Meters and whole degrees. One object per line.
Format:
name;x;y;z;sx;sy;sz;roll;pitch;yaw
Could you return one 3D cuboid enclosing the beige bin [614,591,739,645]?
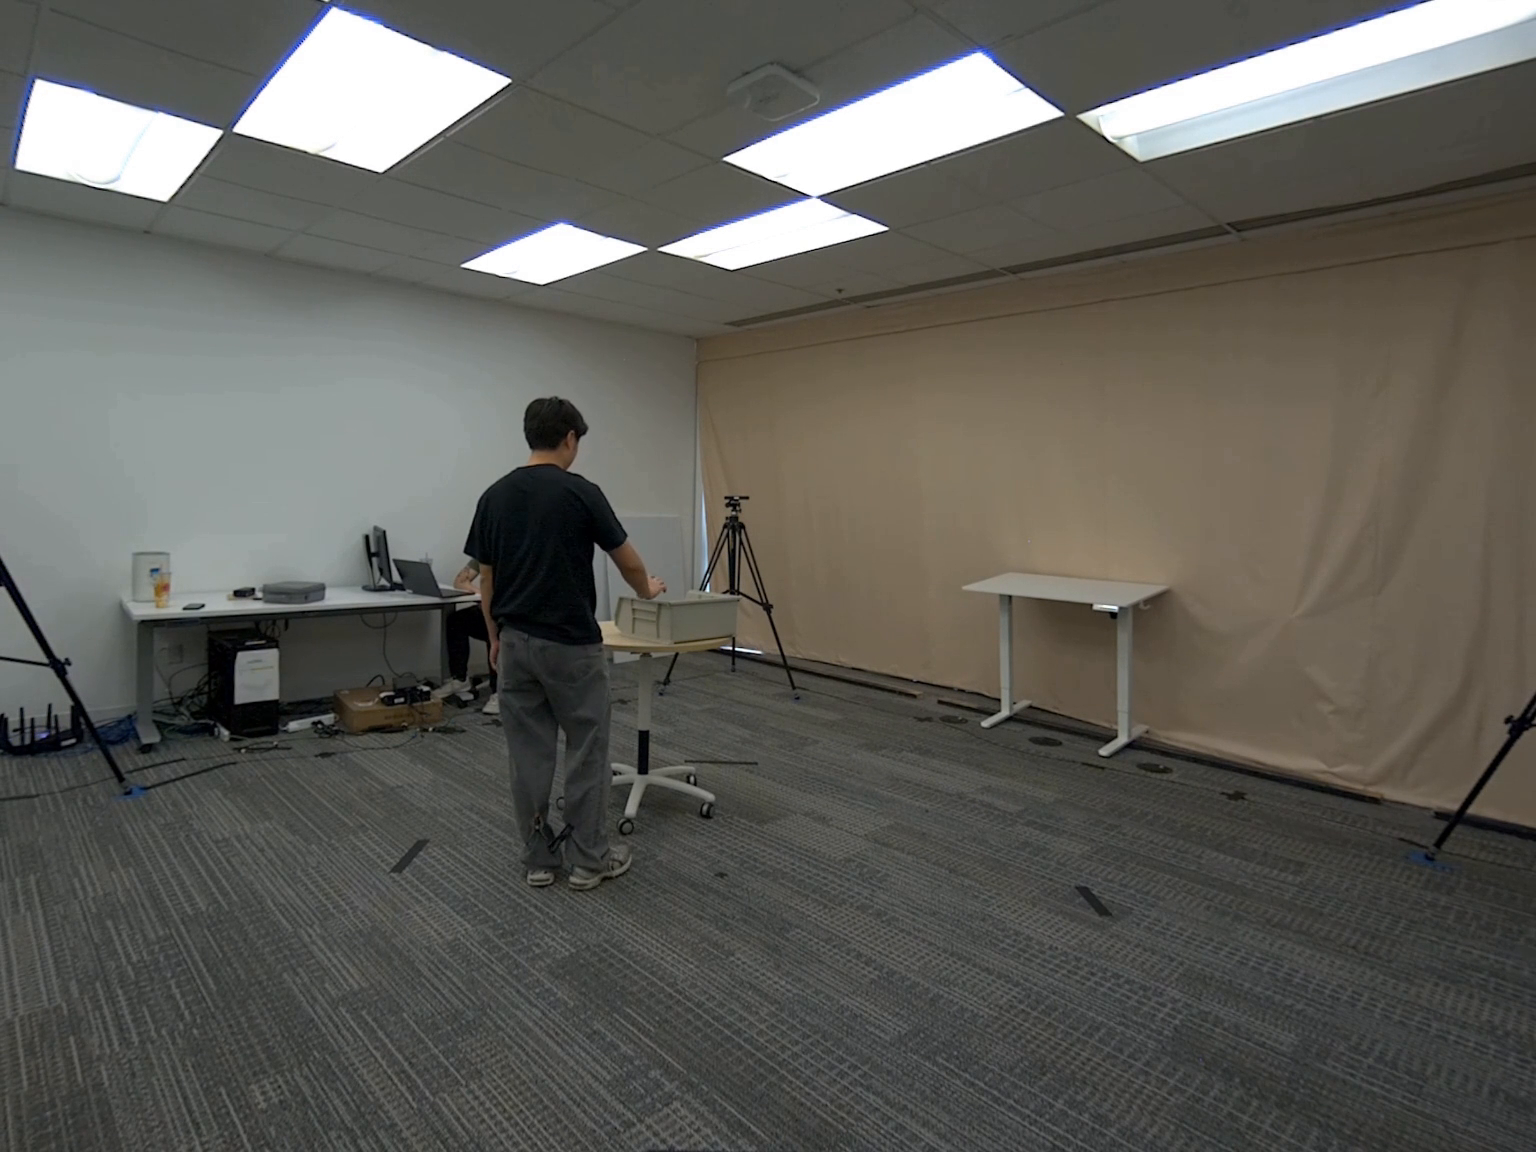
beige bin;-0.402;0.173;3.695;0.387;0.188;0.412;7;7;44
